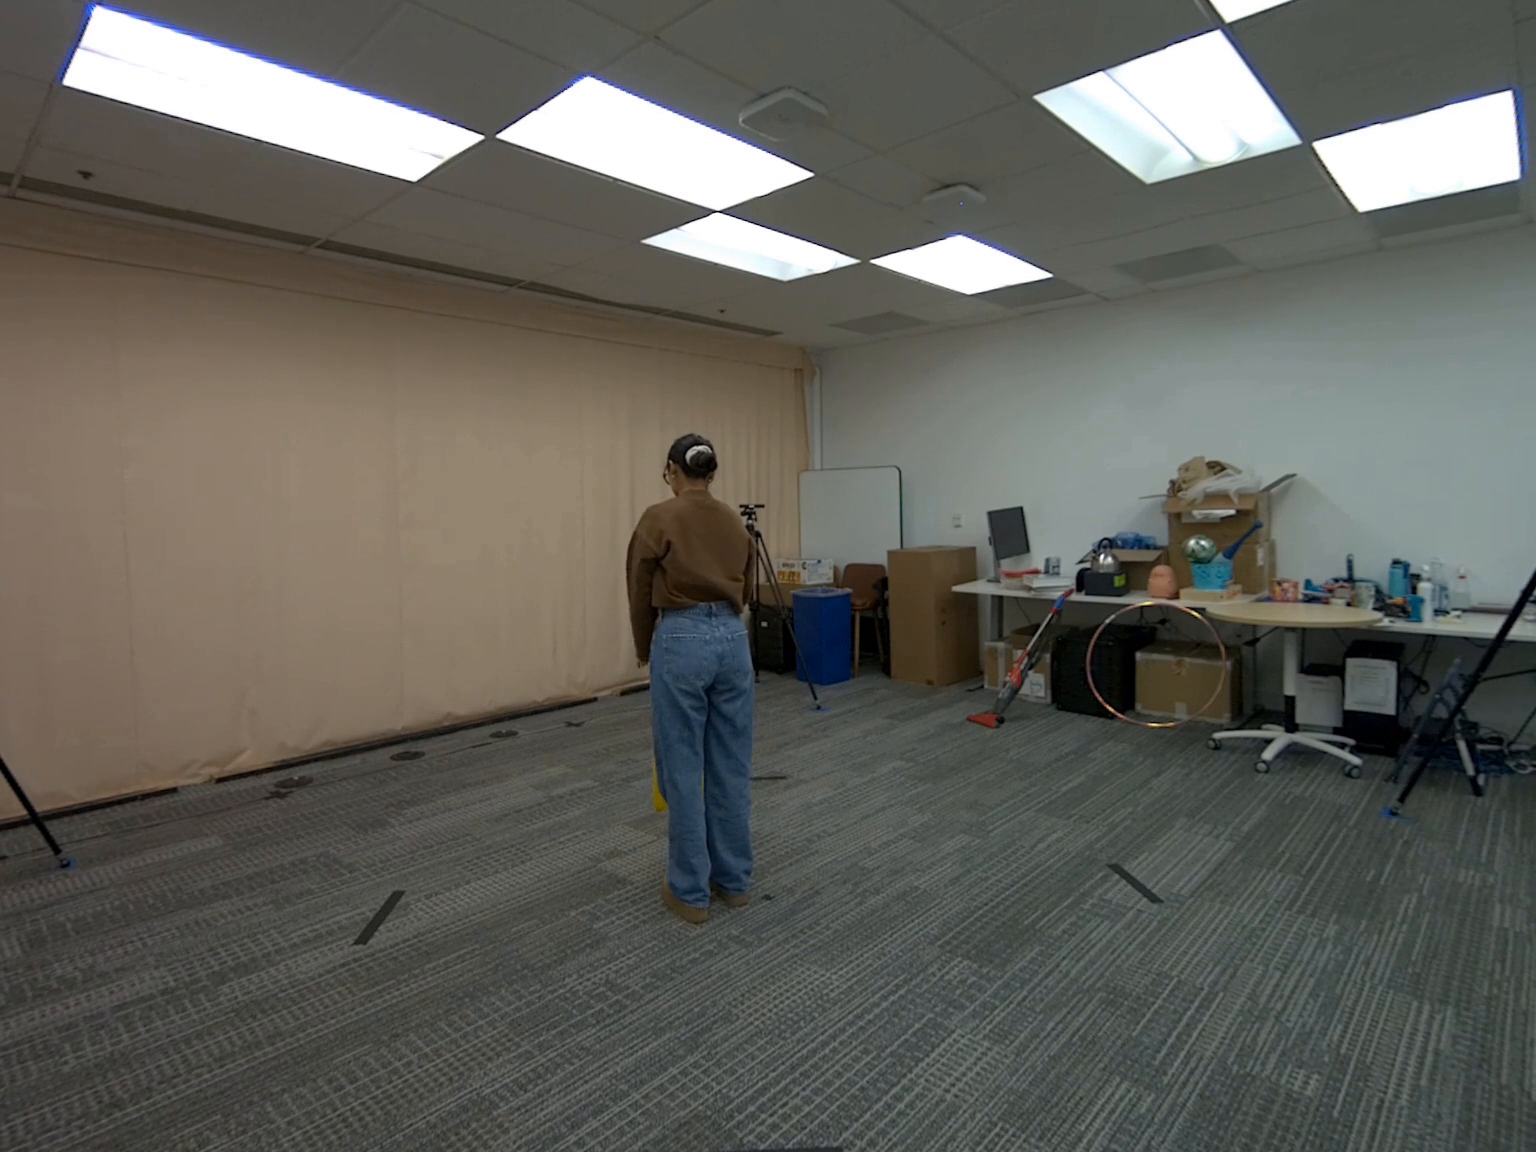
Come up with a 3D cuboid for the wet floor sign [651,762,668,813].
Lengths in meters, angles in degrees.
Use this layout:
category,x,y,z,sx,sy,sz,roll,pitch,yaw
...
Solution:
category,x,y,z,sx,sy,sz,roll,pitch,yaw
wet floor sign,-0.314,0.576,3.302,0.275,0.646,0.298,-10,1,-37
